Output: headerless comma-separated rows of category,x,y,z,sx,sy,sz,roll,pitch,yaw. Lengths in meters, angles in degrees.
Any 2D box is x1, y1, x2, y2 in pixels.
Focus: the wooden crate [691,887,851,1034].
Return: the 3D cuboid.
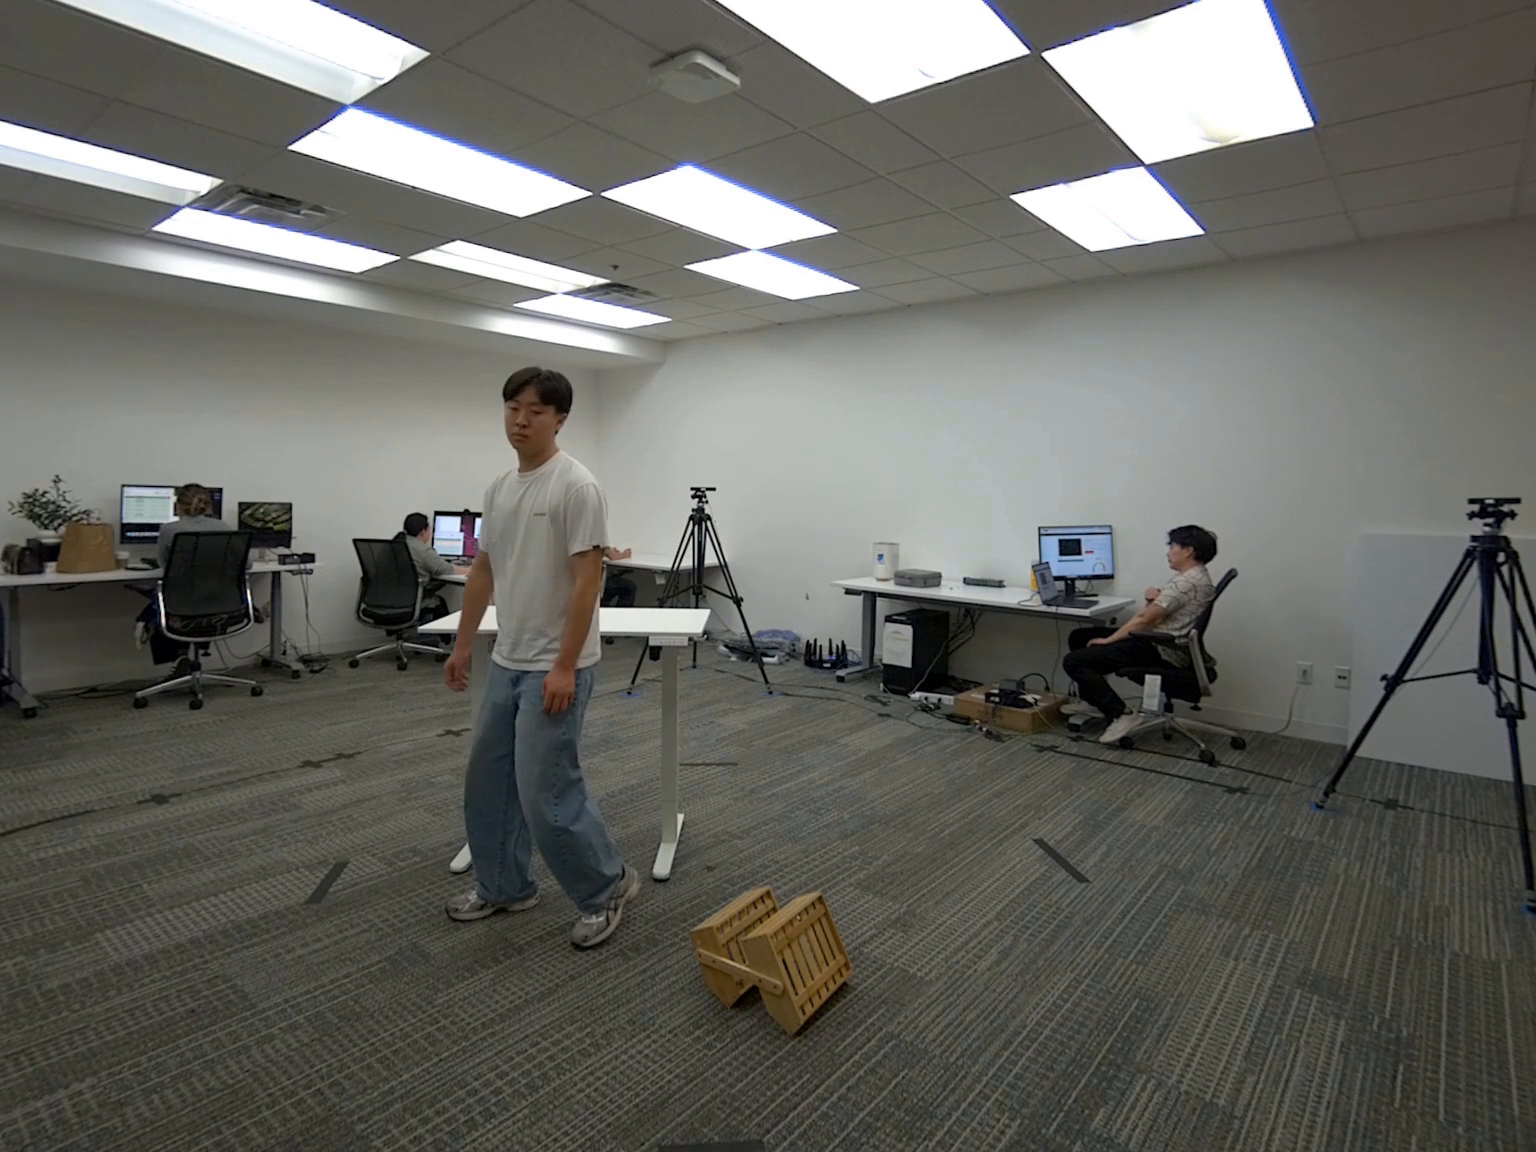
wooden crate,0.004,1.055,2.367,0.276,0.307,0.315,-29,-13,31
